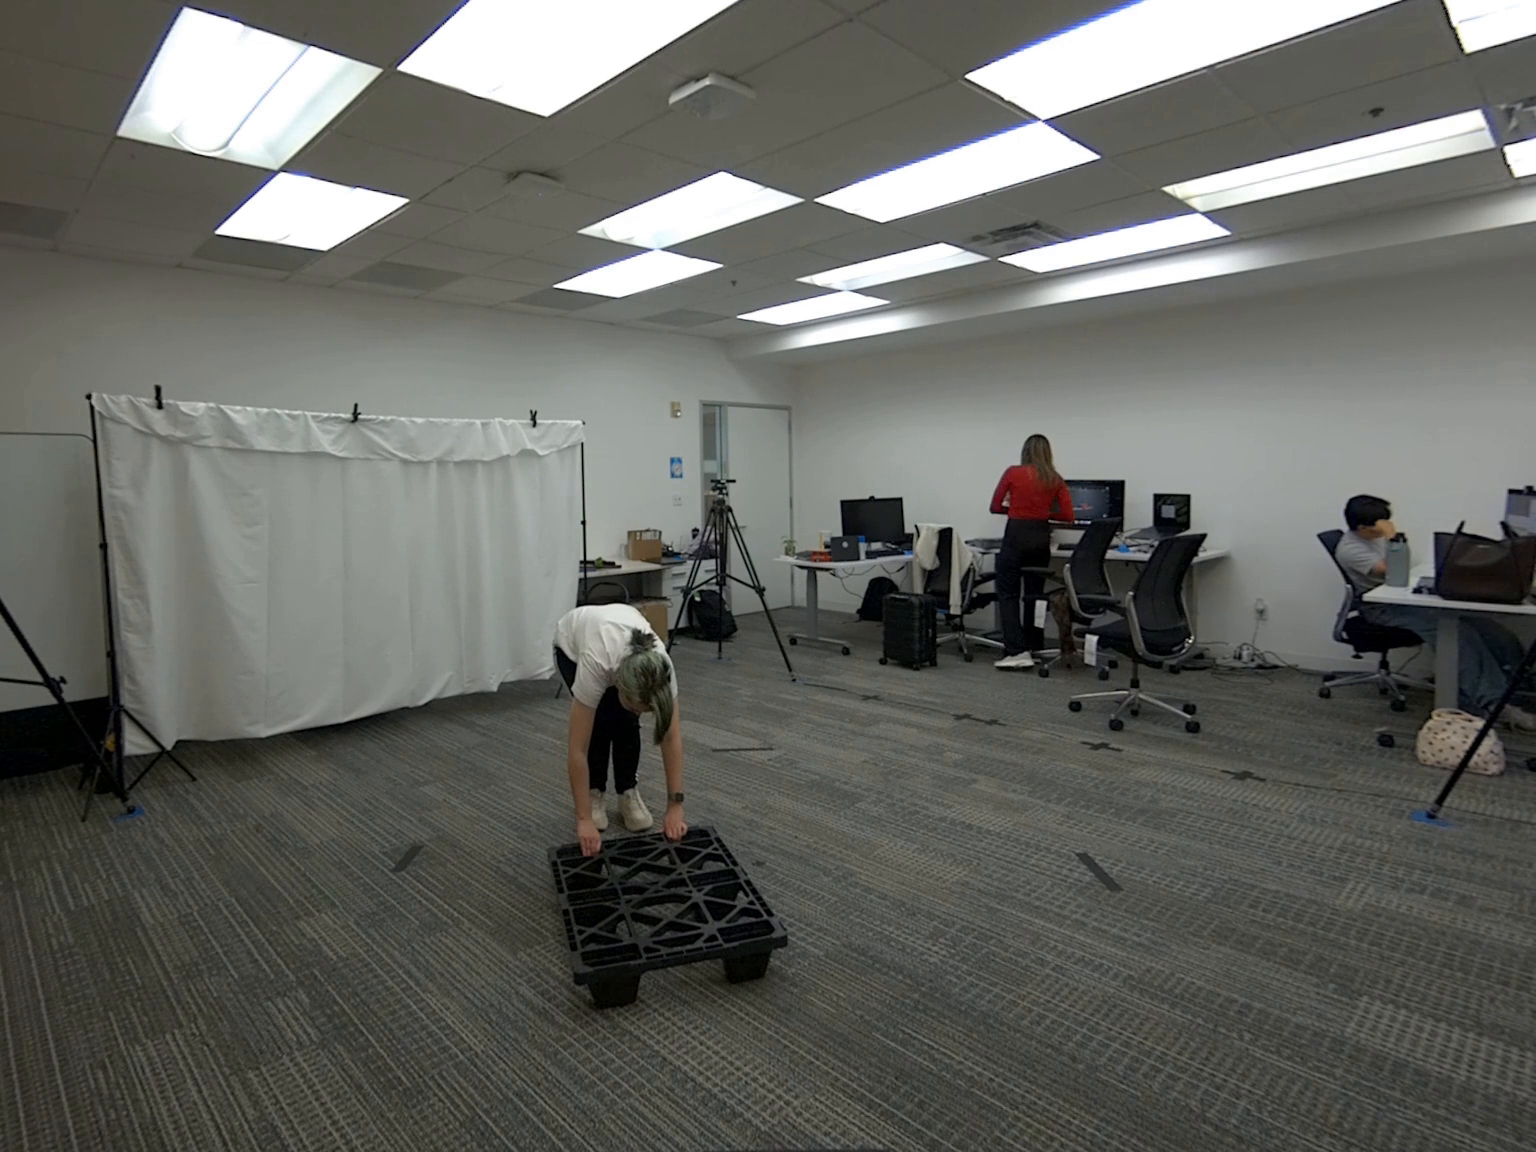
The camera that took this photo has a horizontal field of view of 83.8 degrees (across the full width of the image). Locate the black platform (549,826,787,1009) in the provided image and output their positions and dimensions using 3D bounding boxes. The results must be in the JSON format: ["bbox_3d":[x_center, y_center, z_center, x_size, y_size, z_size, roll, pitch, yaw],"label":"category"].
[{"bbox_3d":[-0.352,1.036,2.679,0.596,0.142,0.822,-4,7,-18],"label":"black platform"}]
